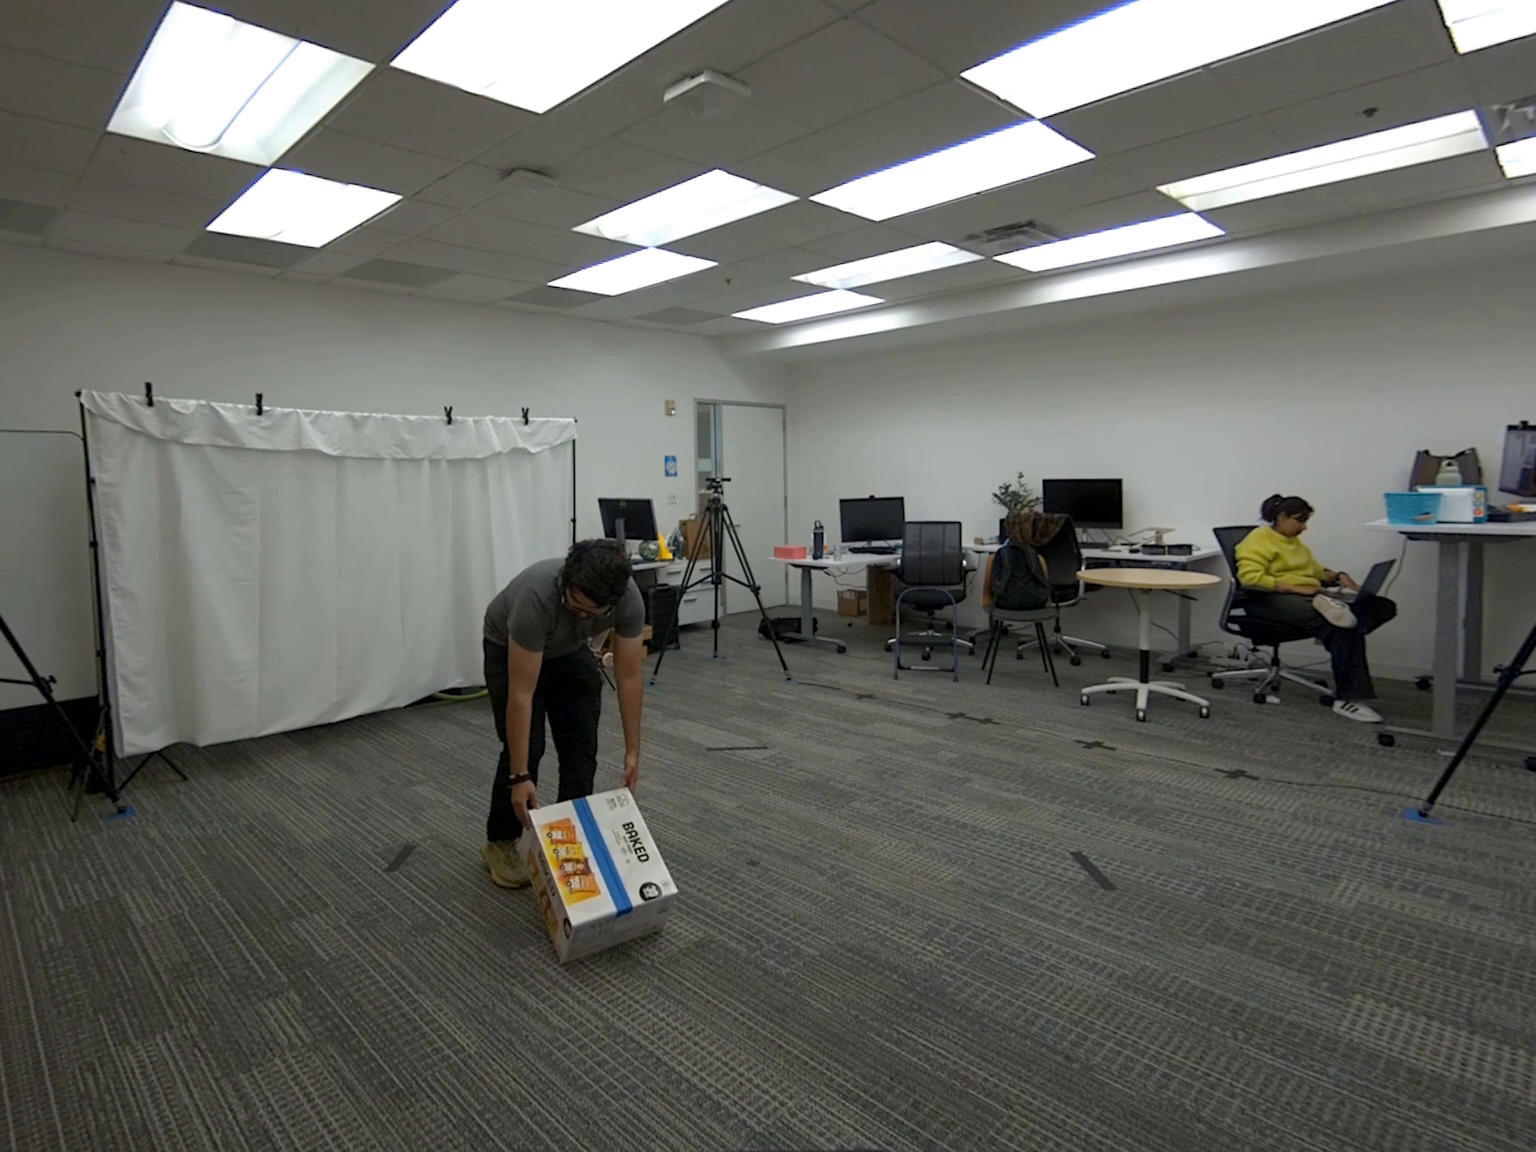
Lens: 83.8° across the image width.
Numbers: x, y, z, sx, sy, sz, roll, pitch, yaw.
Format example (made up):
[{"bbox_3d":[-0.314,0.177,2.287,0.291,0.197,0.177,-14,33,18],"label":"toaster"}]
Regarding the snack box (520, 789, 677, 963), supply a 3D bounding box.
[{"bbox_3d":[-0.532,0.915,2.646,0.332,0.202,0.421,-6,41,-33],"label":"snack box"}]
